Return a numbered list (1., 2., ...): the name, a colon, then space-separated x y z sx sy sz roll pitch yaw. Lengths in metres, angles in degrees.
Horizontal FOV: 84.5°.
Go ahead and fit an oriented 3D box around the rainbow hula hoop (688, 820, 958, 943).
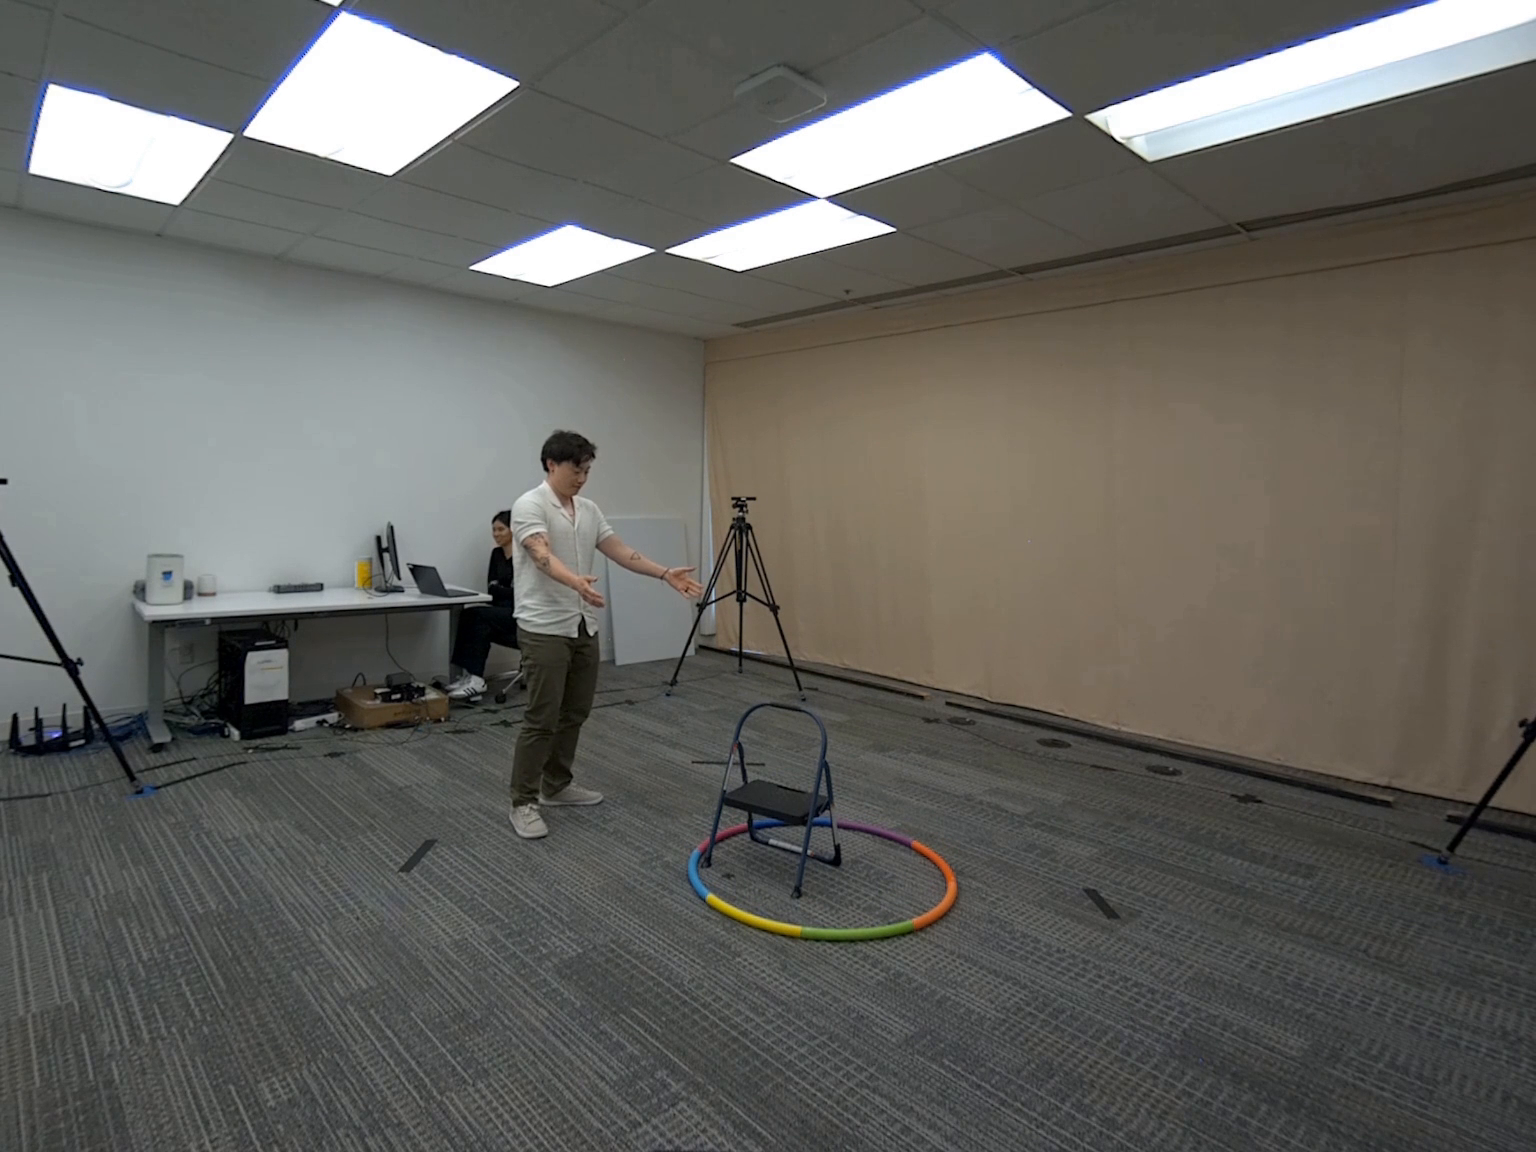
1. rainbow hula hoop: 0.188 1.080 3.139 0.978 0.035 0.982 1 5 -1
